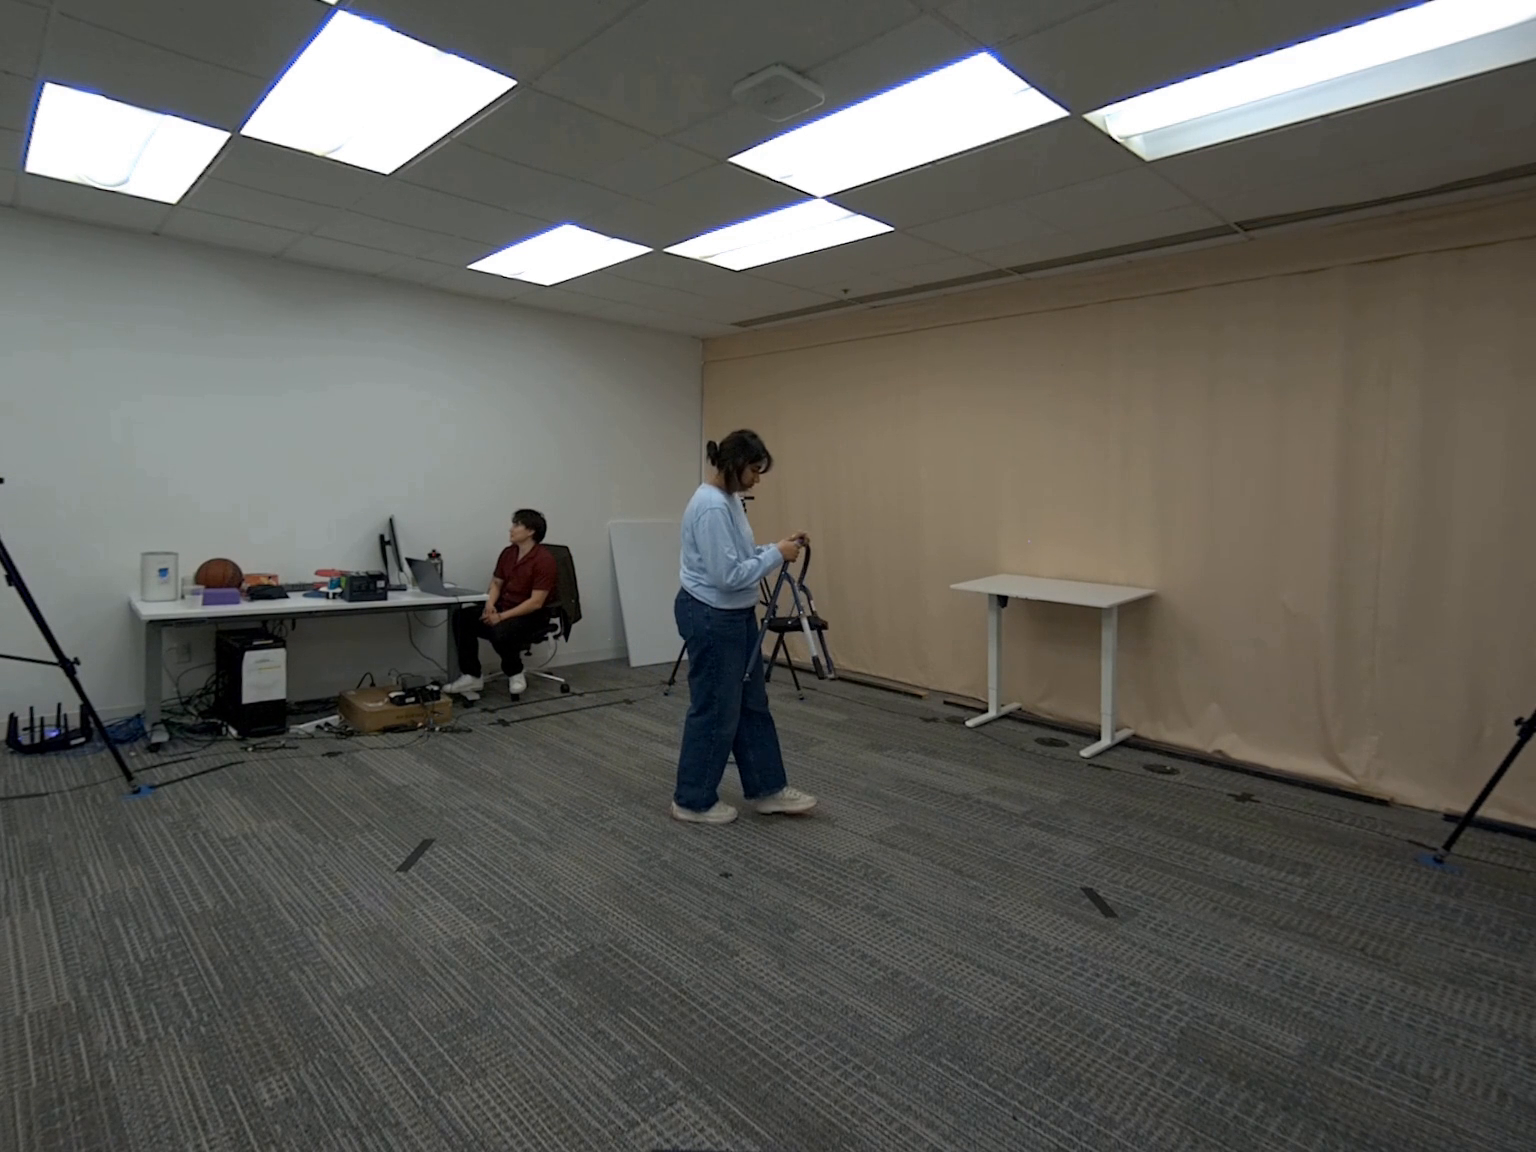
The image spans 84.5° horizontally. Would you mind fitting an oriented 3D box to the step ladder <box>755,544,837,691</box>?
[{"bbox_3d":[0.084,0.147,3.664,0.352,0.611,0.423,-3,-10,11],"label":"step ladder"}]
